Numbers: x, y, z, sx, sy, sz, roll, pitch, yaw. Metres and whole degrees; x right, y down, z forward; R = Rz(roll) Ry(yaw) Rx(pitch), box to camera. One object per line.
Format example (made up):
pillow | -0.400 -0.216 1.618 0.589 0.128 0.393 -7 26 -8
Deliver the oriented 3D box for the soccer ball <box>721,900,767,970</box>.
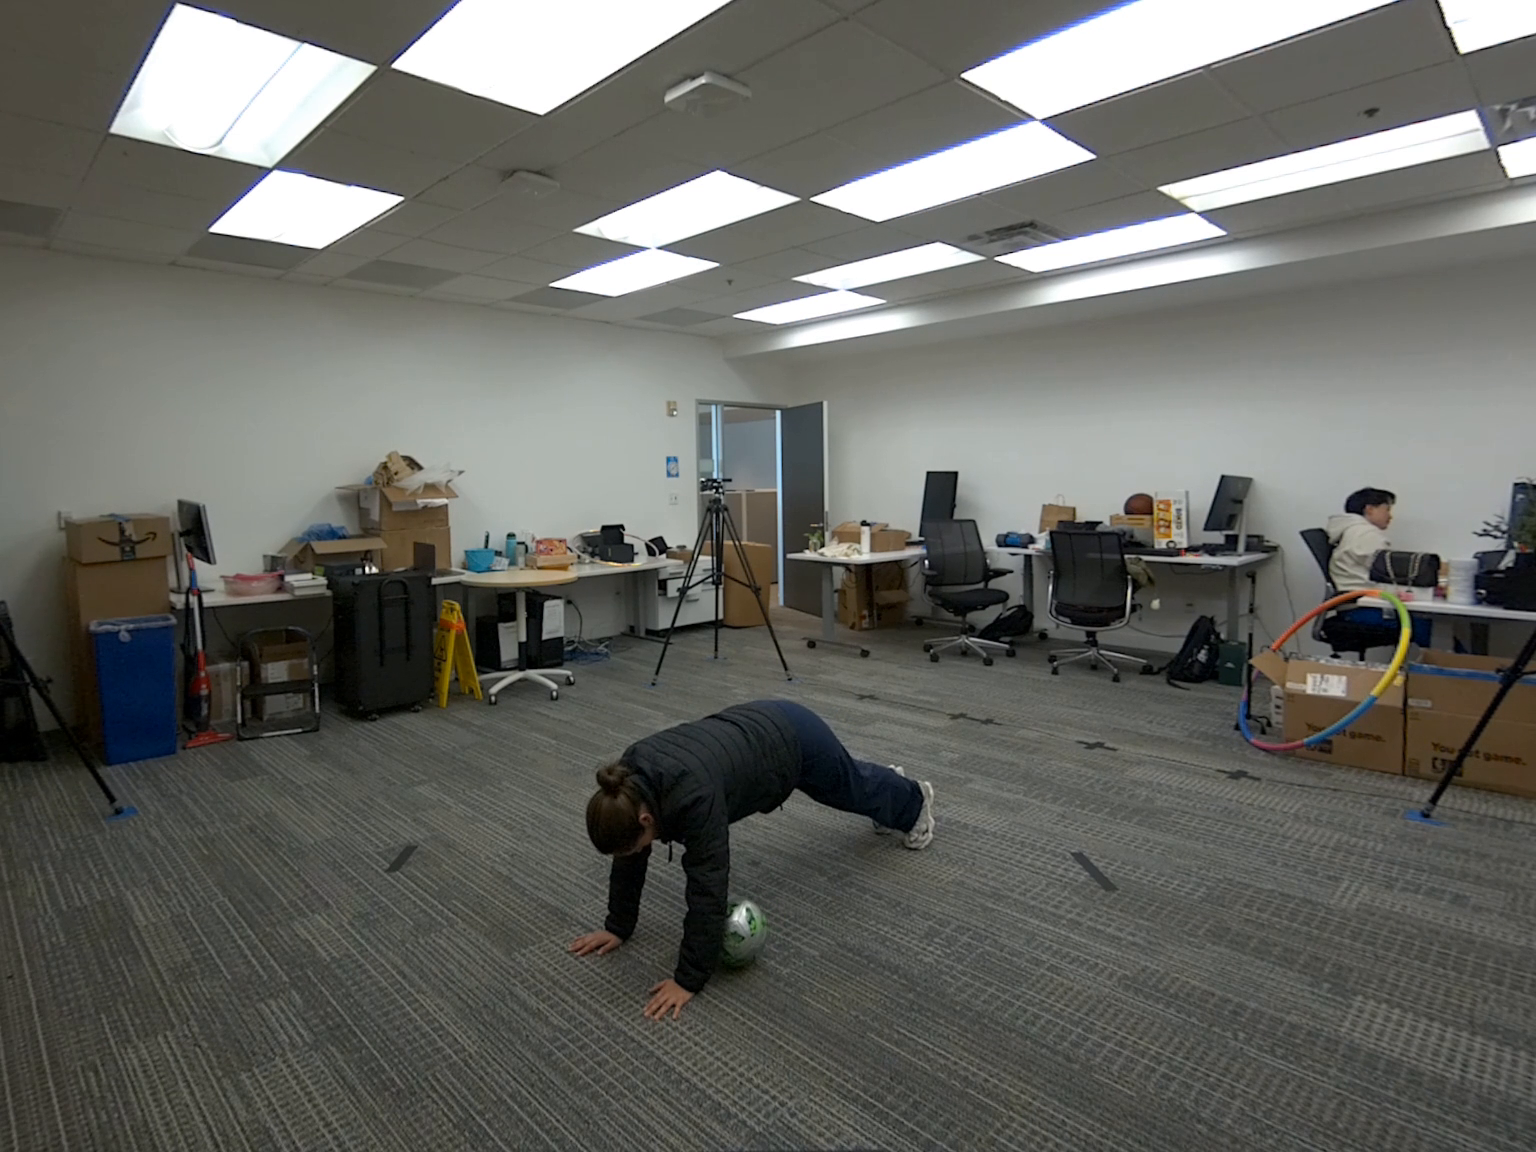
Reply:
soccer ball | -0.082 1.031 2.465 0.187 0.187 0.188 -1 5 -2
